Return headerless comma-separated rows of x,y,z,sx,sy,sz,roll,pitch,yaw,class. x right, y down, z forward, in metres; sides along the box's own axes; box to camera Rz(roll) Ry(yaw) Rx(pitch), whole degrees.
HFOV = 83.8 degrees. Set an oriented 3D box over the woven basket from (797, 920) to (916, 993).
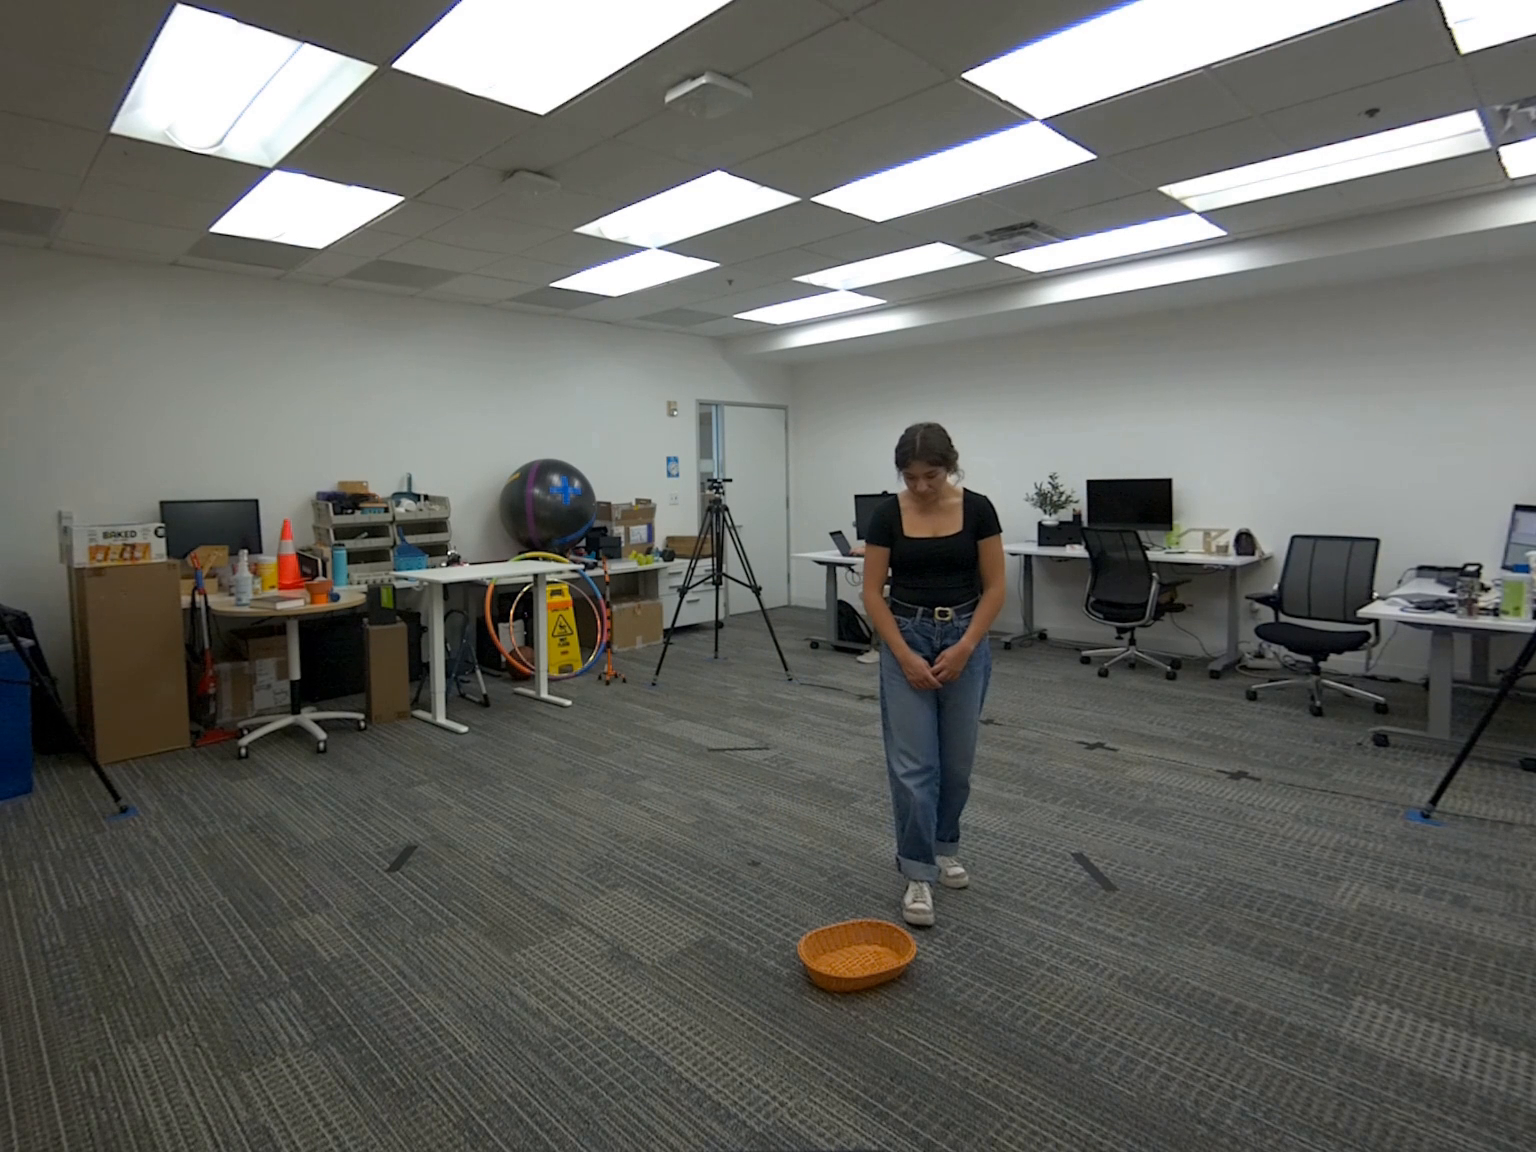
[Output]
0.258,1.080,2.423,0.344,0.073,0.259,-3,8,-22,woven basket
